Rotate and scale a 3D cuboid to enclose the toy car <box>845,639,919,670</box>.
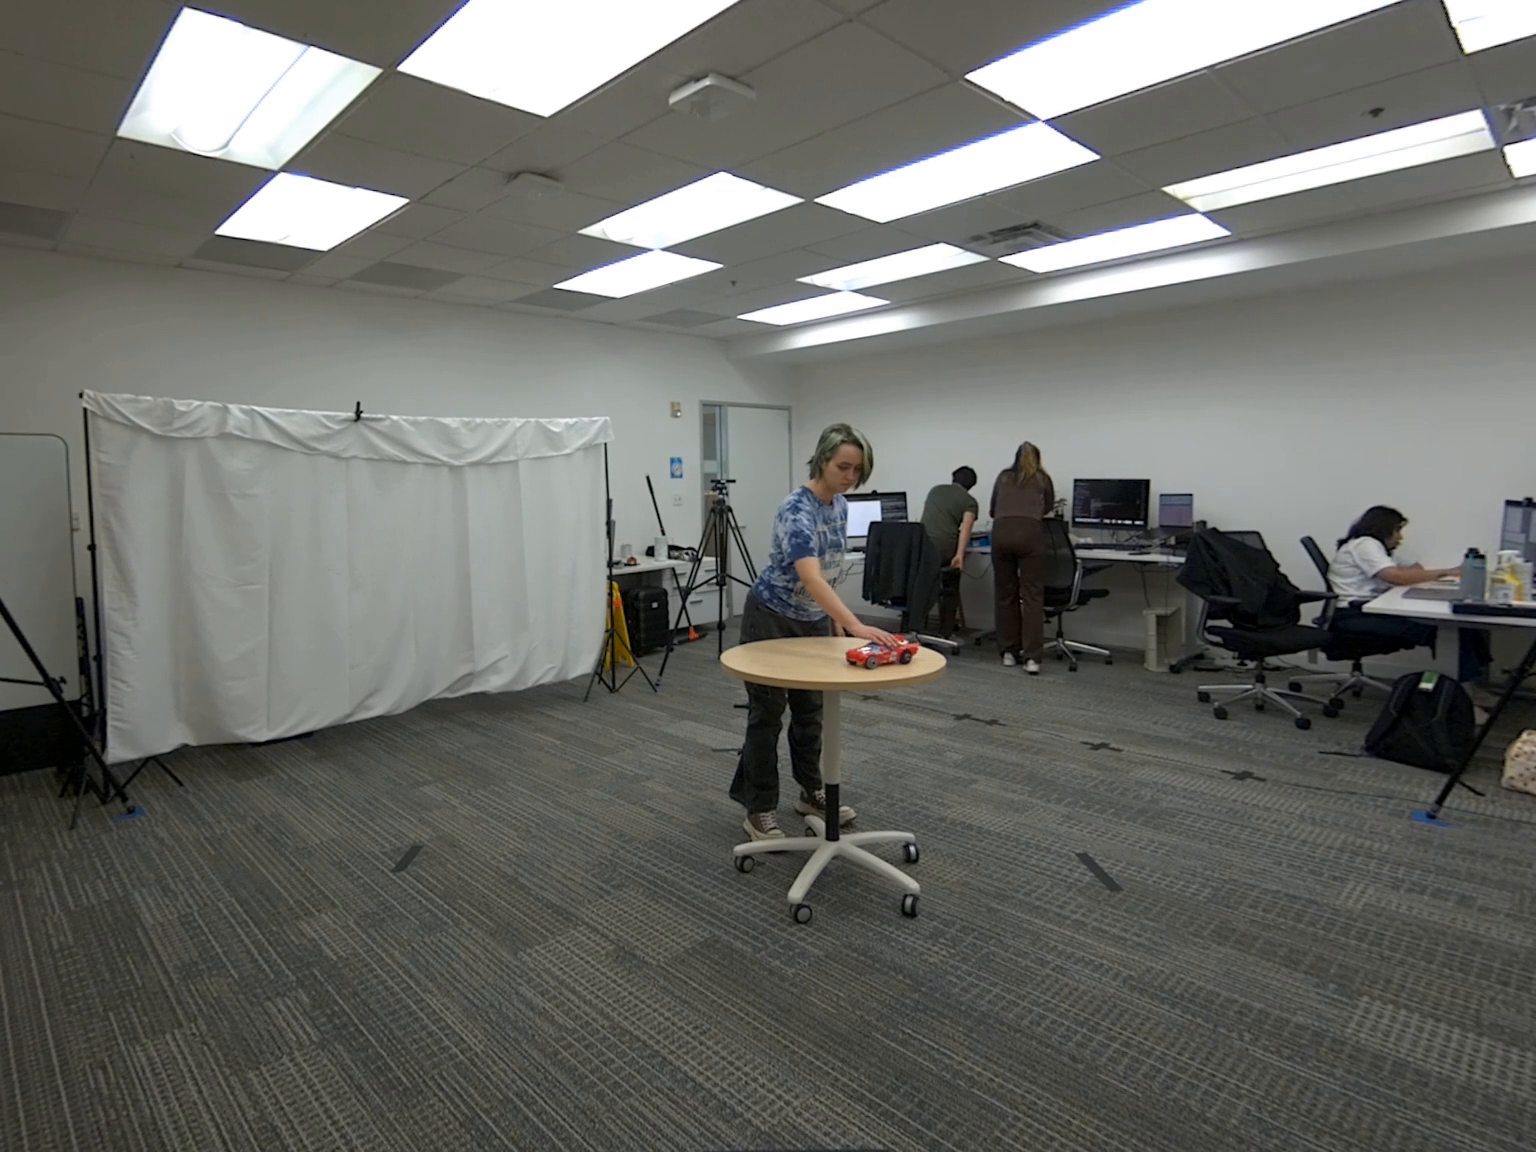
[{"bbox_3d":[0.391,0.258,2.825,0.250,0.082,0.134,-16,12,-28],"label":"toy car"}]
